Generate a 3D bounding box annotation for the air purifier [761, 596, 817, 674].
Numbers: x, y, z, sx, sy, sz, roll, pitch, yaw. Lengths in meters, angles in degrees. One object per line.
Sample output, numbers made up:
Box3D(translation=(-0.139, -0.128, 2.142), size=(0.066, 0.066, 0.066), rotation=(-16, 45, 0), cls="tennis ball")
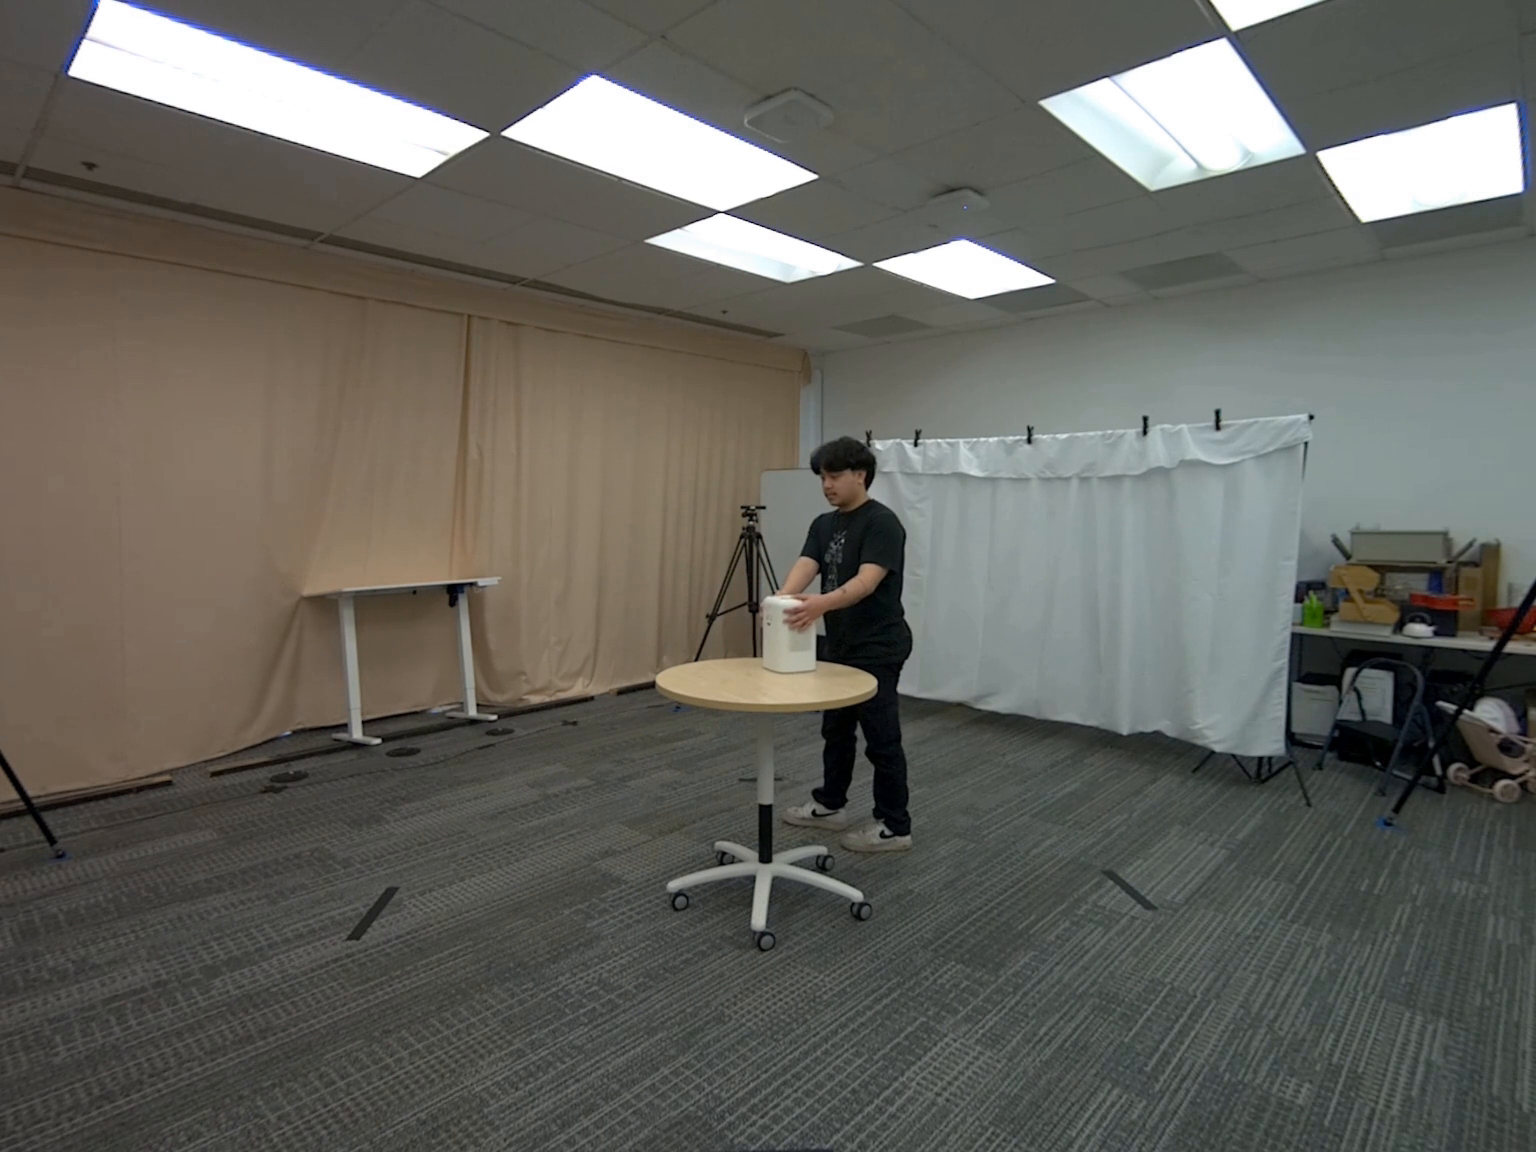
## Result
Box3D(translation=(0.076, 0.210, 3.088), size=(0.167, 0.265, 0.175), rotation=(0, 2, -24), cls="air purifier")
